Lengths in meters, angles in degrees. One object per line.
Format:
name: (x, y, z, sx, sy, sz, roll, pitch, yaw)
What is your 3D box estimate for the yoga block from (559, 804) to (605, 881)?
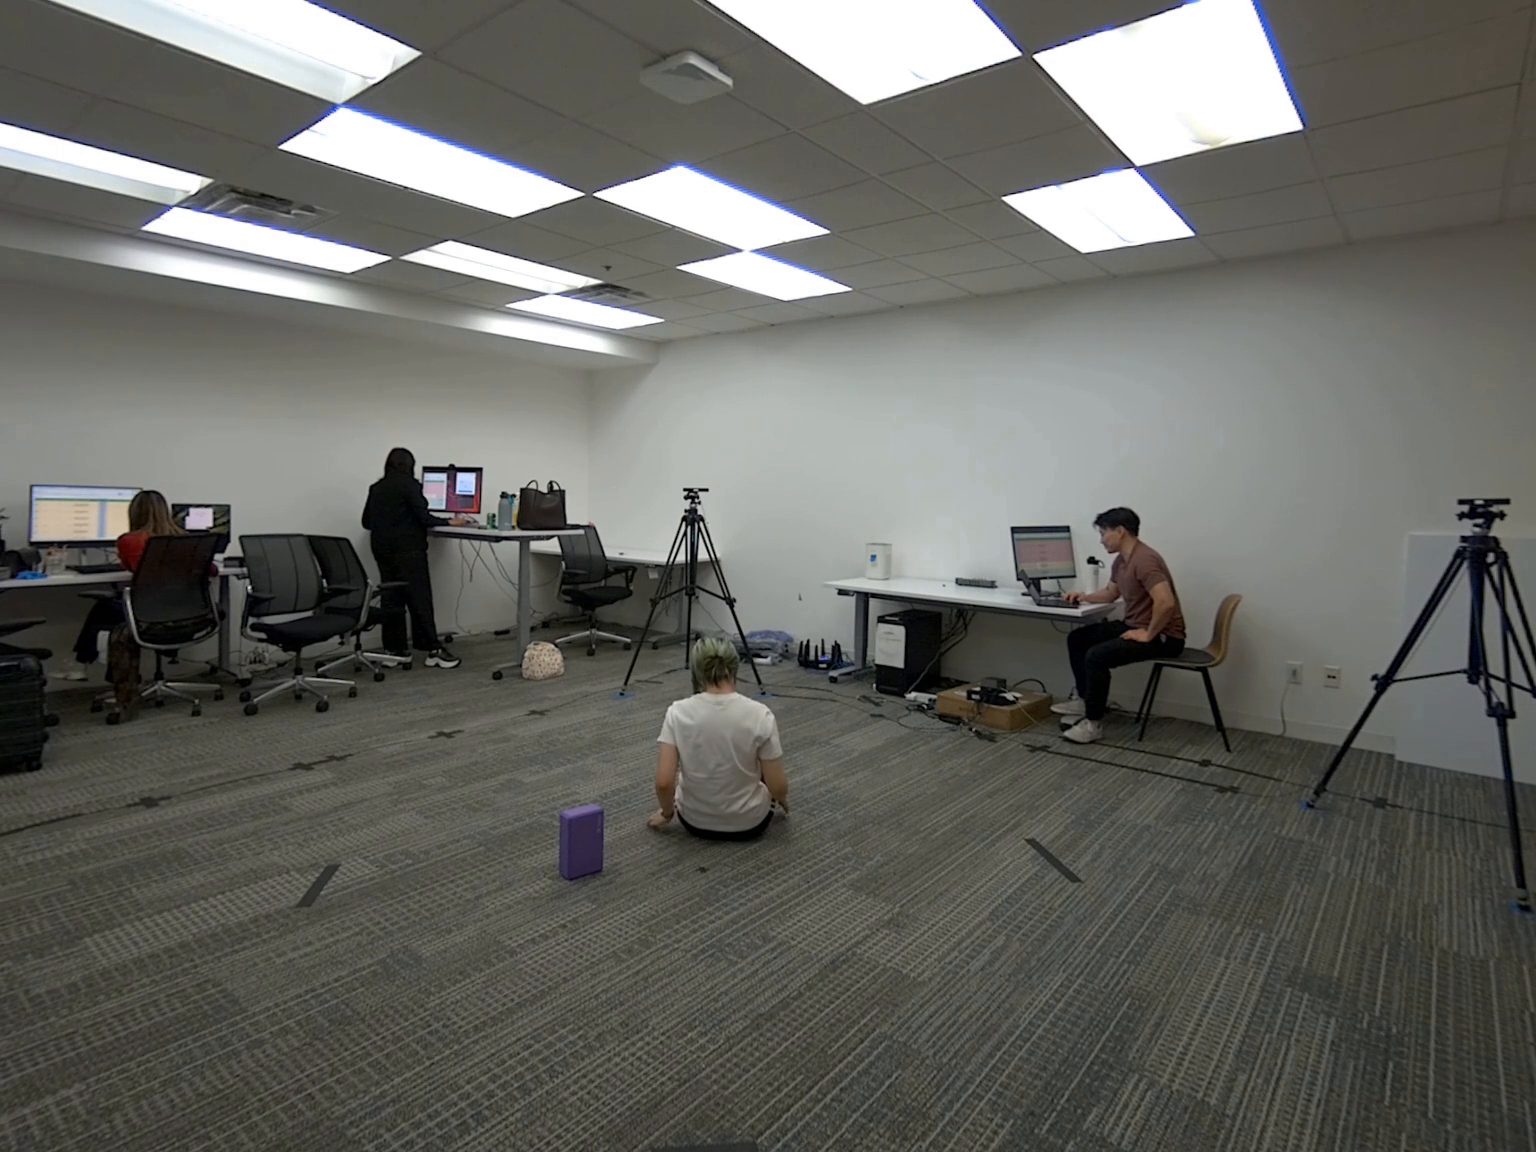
yoga block: (-0.680, 0.948, 3.052, 0.144, 0.228, 0.079, -3, 6, -42)
